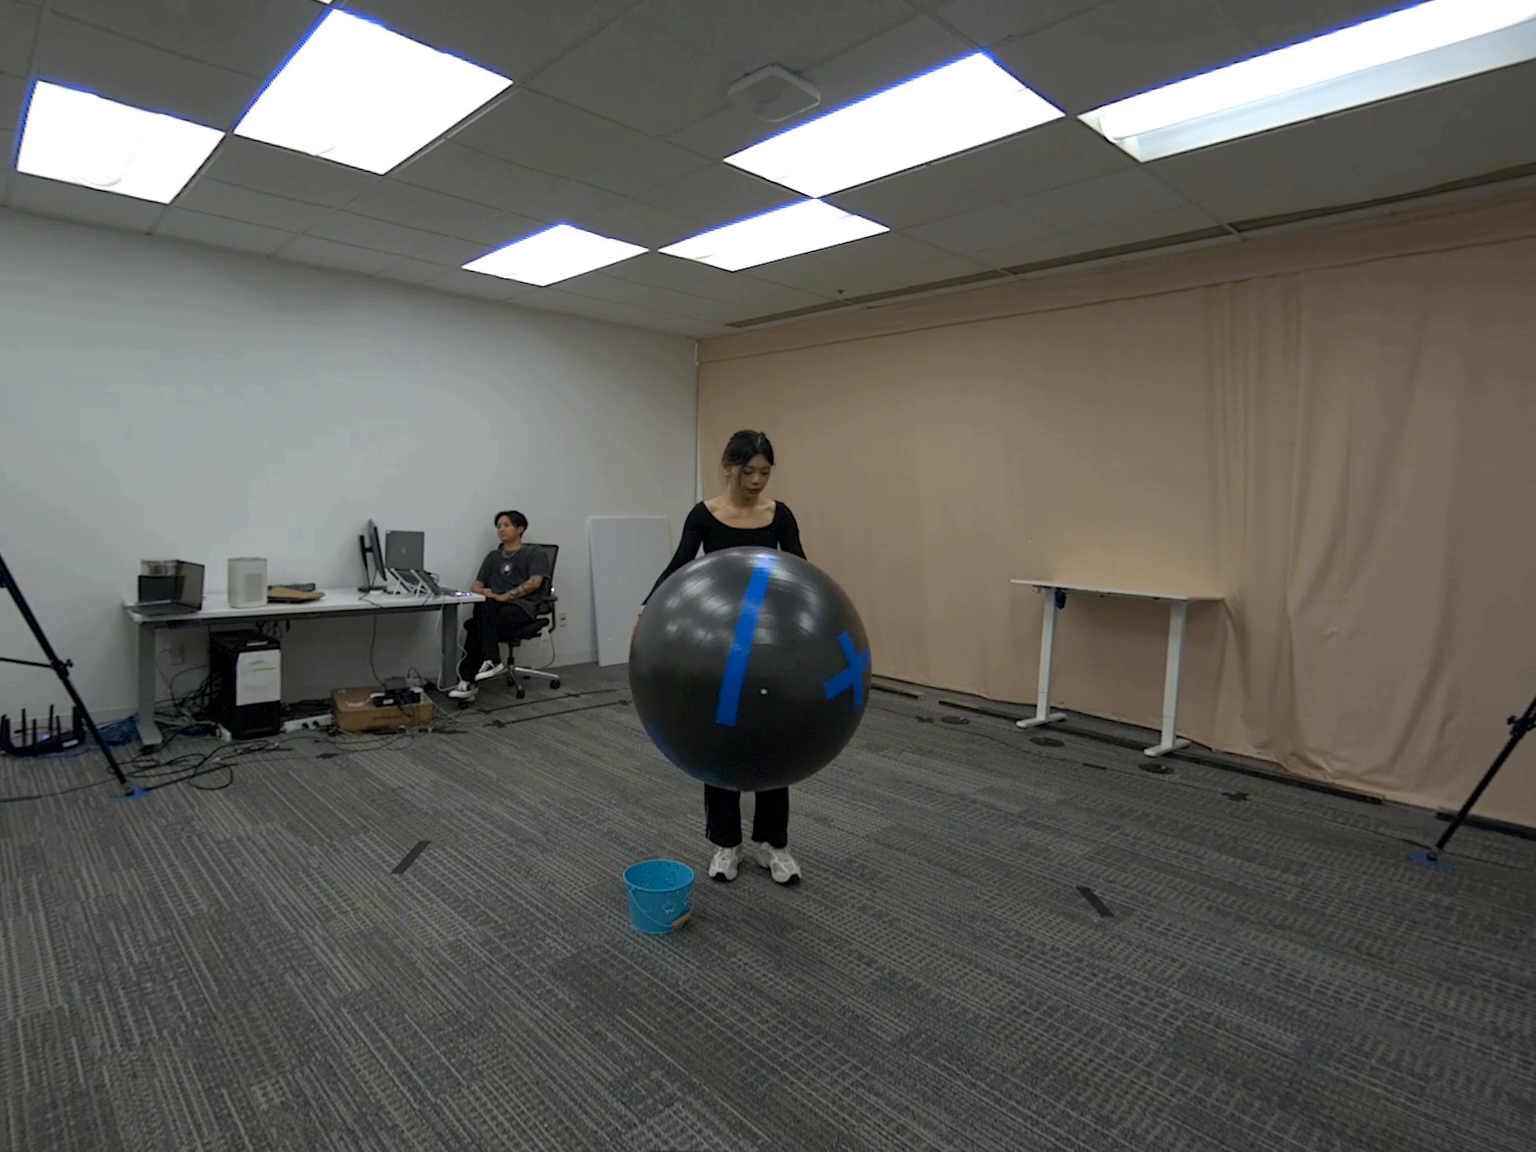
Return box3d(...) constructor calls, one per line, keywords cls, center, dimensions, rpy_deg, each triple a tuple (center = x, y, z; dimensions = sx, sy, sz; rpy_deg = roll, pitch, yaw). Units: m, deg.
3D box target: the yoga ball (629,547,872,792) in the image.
box3d(cls="yoga ball", center=(-0.065, 0.291, 2.647), dimensions=(0.757, 0.756, 0.761), rpy_deg=(1, 4, -1))
